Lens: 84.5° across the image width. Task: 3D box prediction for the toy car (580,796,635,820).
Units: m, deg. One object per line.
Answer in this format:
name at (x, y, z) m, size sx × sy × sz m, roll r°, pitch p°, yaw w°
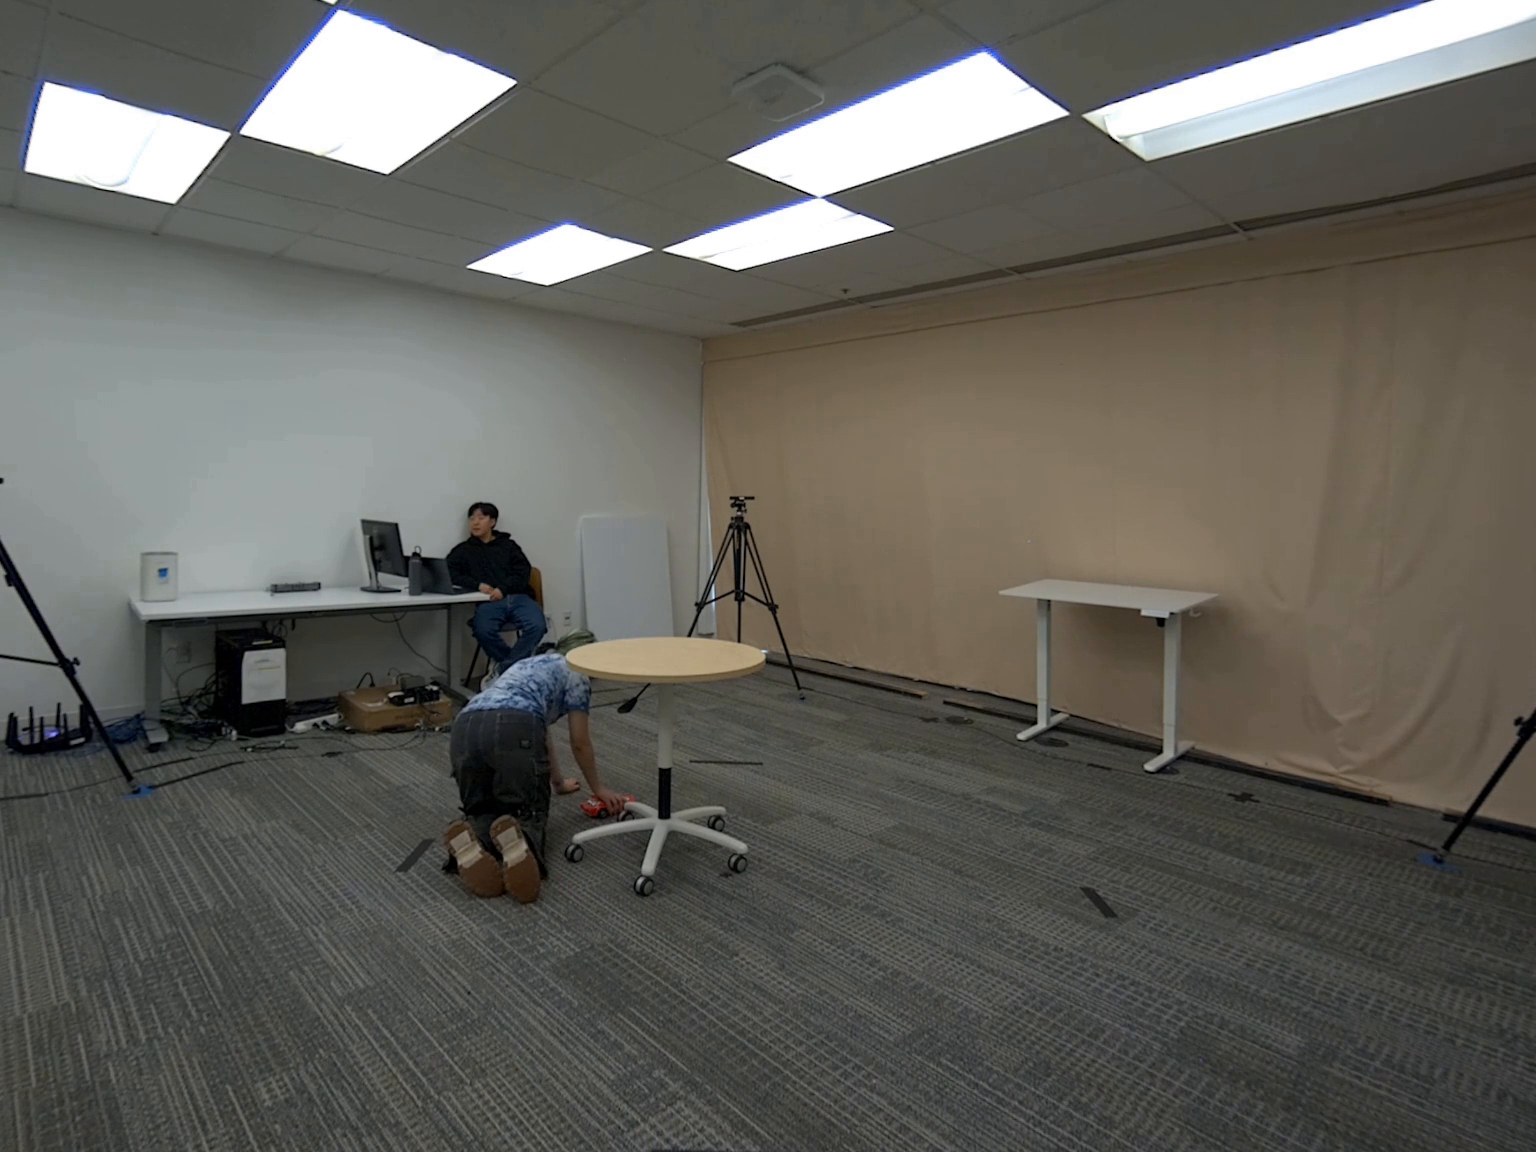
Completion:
toy car at (-0.721, 1.012, 3.697) m, size 0.248 × 0.083 × 0.133 m, roll 9°, pitch -2°, yaw -37°
